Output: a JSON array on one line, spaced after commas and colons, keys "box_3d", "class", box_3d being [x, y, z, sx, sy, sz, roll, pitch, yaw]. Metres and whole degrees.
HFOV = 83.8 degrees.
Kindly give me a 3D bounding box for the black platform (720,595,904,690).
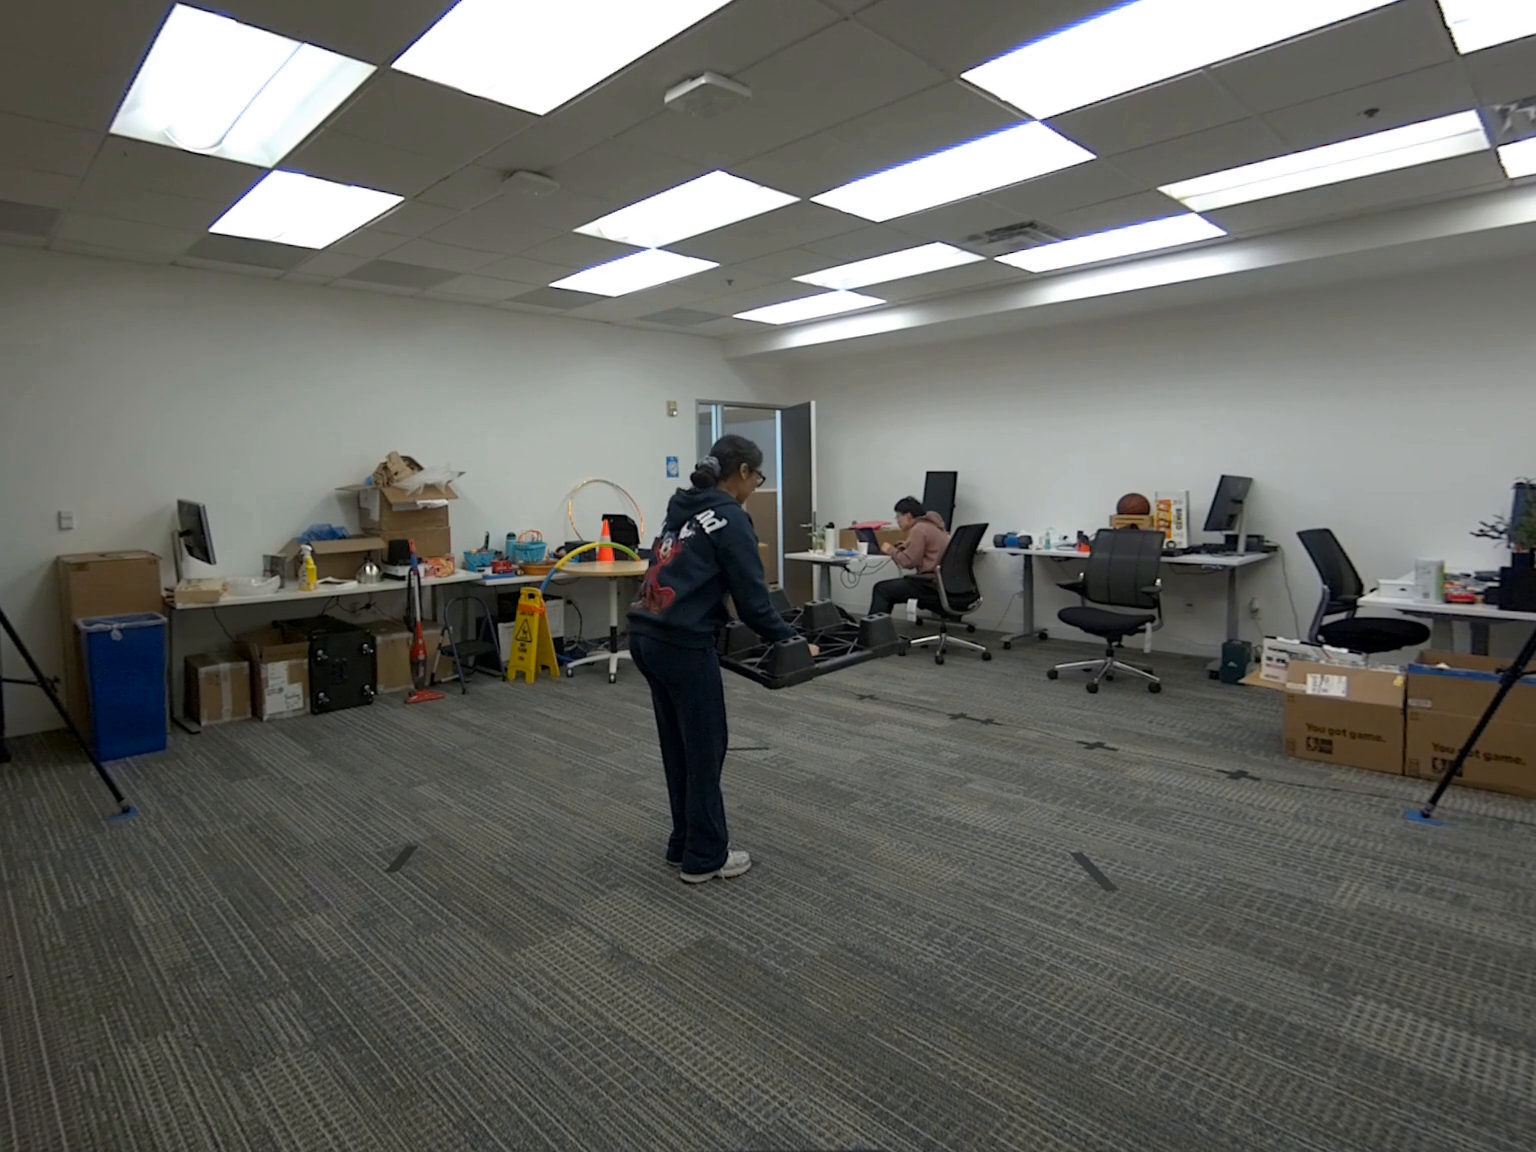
[{"box_3d": [0.047, 0.210, 3.240, 0.593, 0.142, 0.830, -13, 14, -30], "class": "black platform"}]
